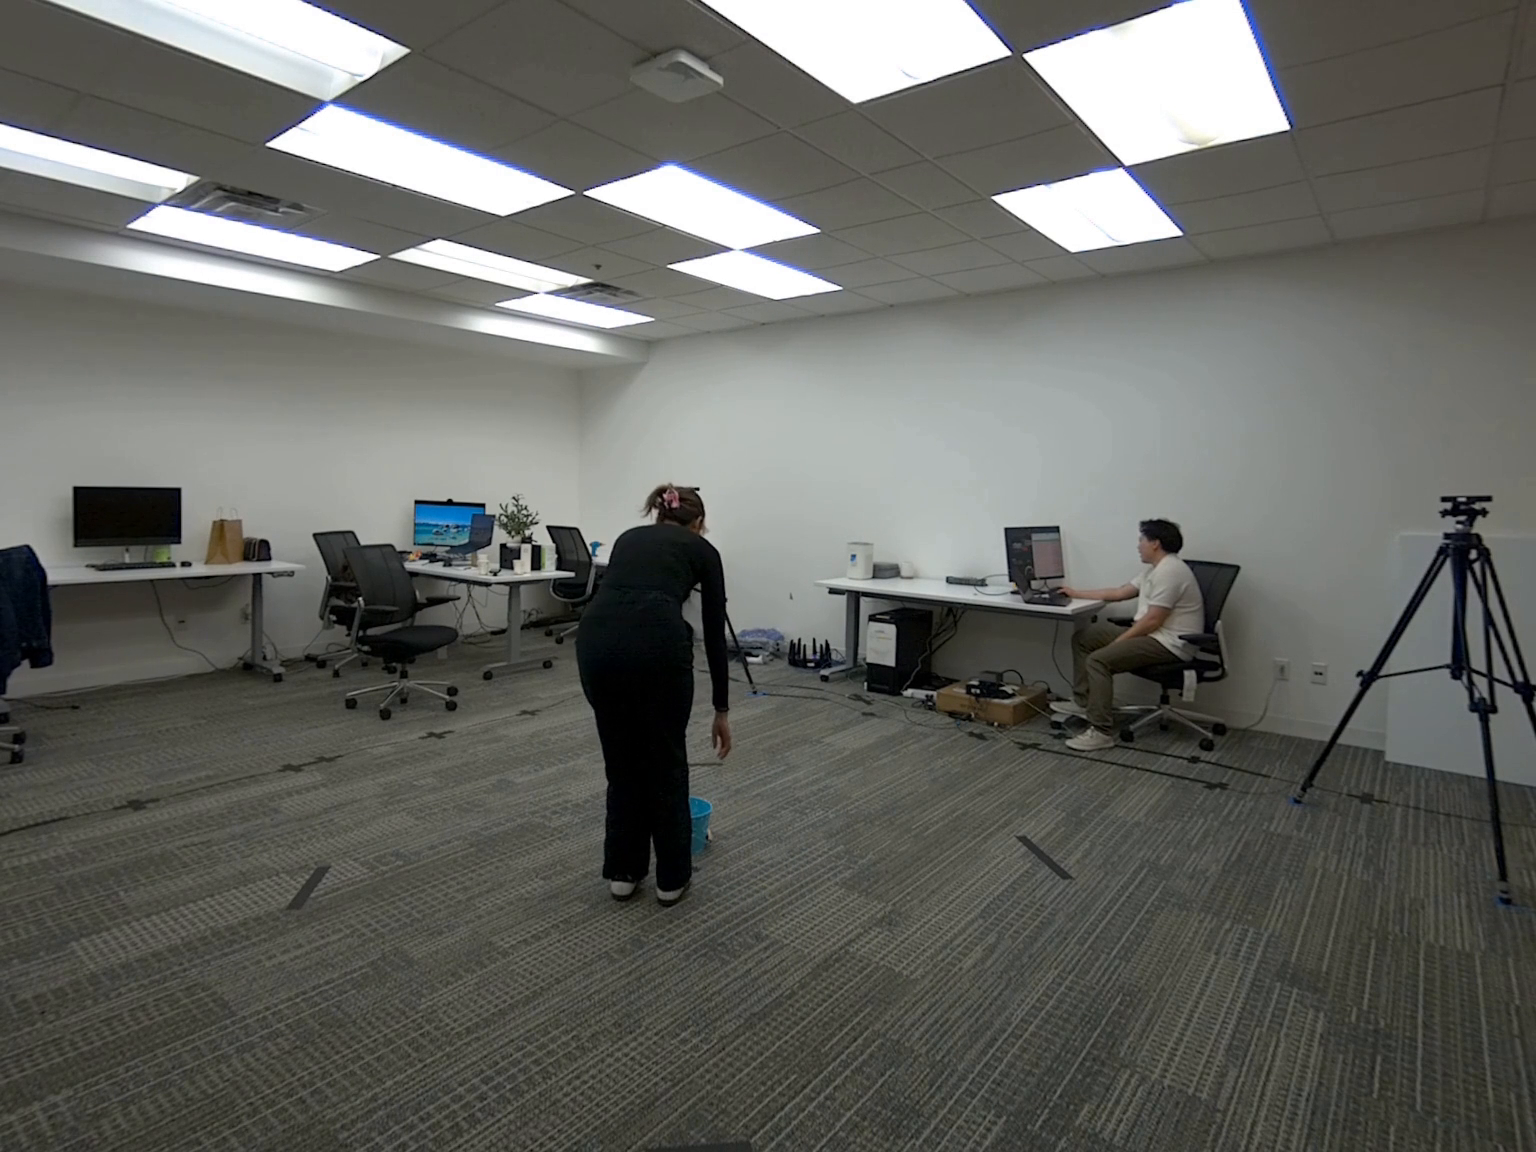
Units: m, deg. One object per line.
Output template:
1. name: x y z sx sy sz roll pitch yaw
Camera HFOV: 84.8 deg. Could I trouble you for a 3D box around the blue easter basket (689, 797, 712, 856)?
1. blue easter basket: -0.339 0.970 3.304 0.243 0.155 0.245 0 4 -2
